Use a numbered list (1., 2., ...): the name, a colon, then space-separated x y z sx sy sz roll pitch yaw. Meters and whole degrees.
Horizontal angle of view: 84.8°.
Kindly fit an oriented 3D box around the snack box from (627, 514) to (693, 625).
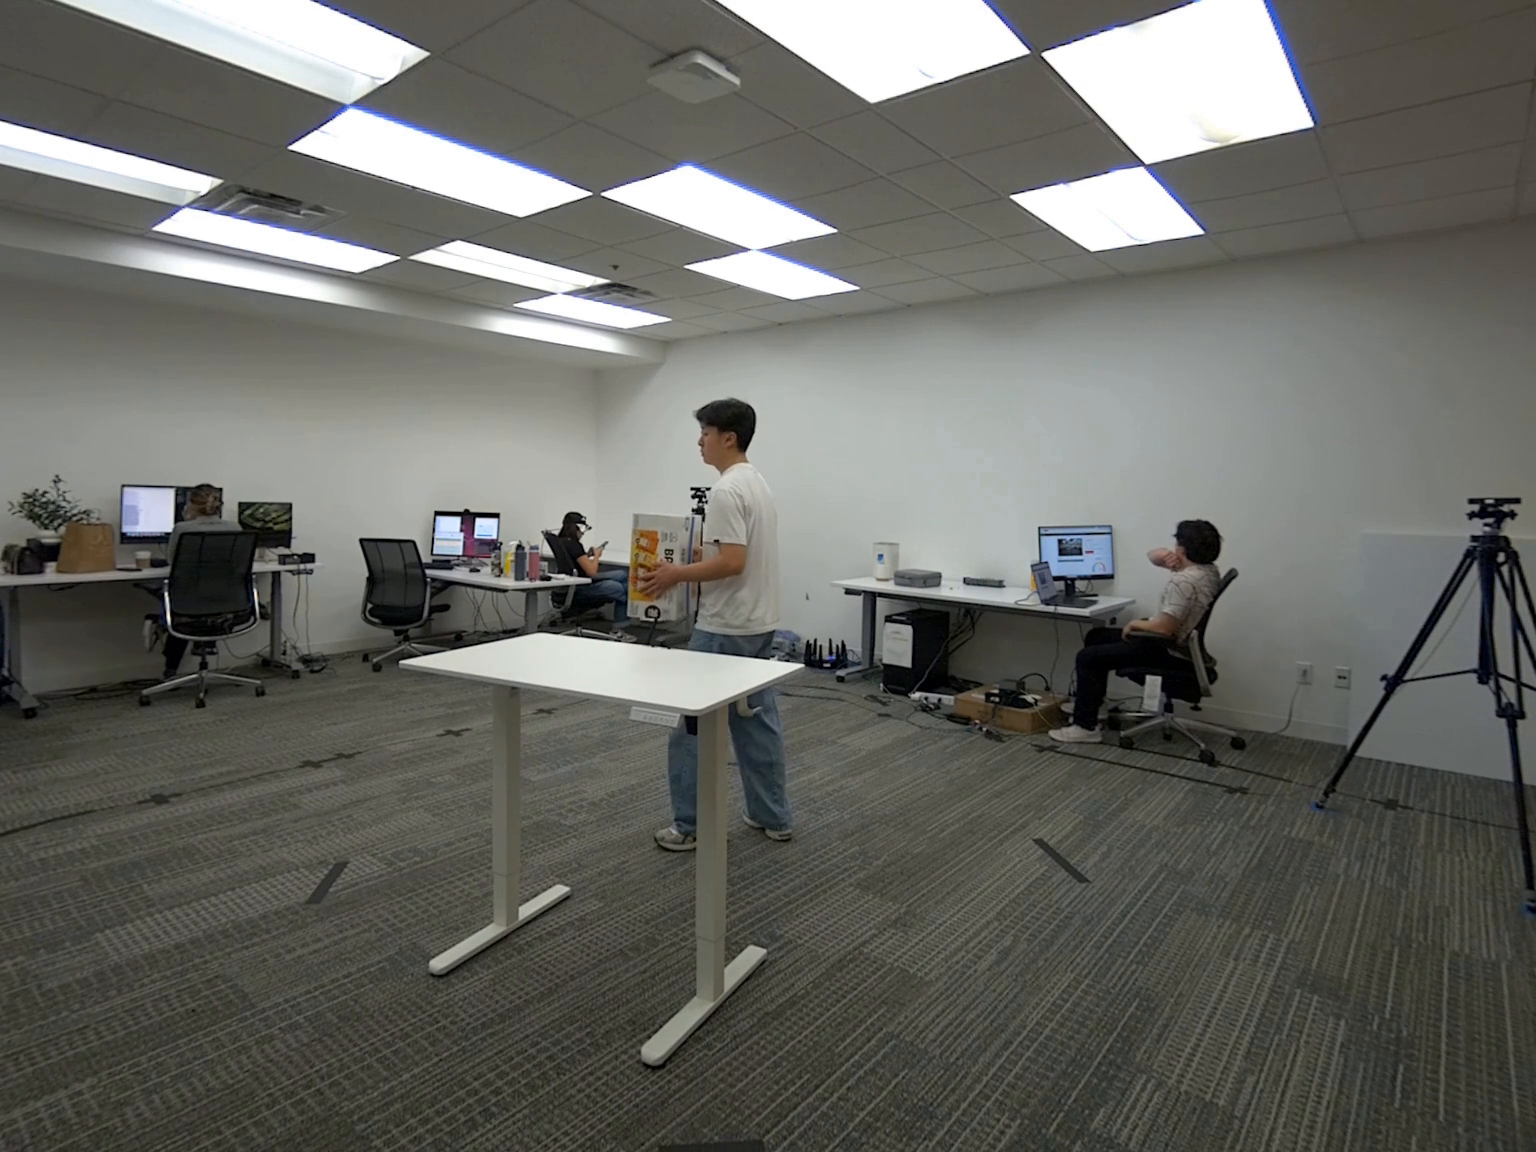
1. snack box: -0.433 -0.053 3.453 0.208 0.404 0.337 4 4 10
